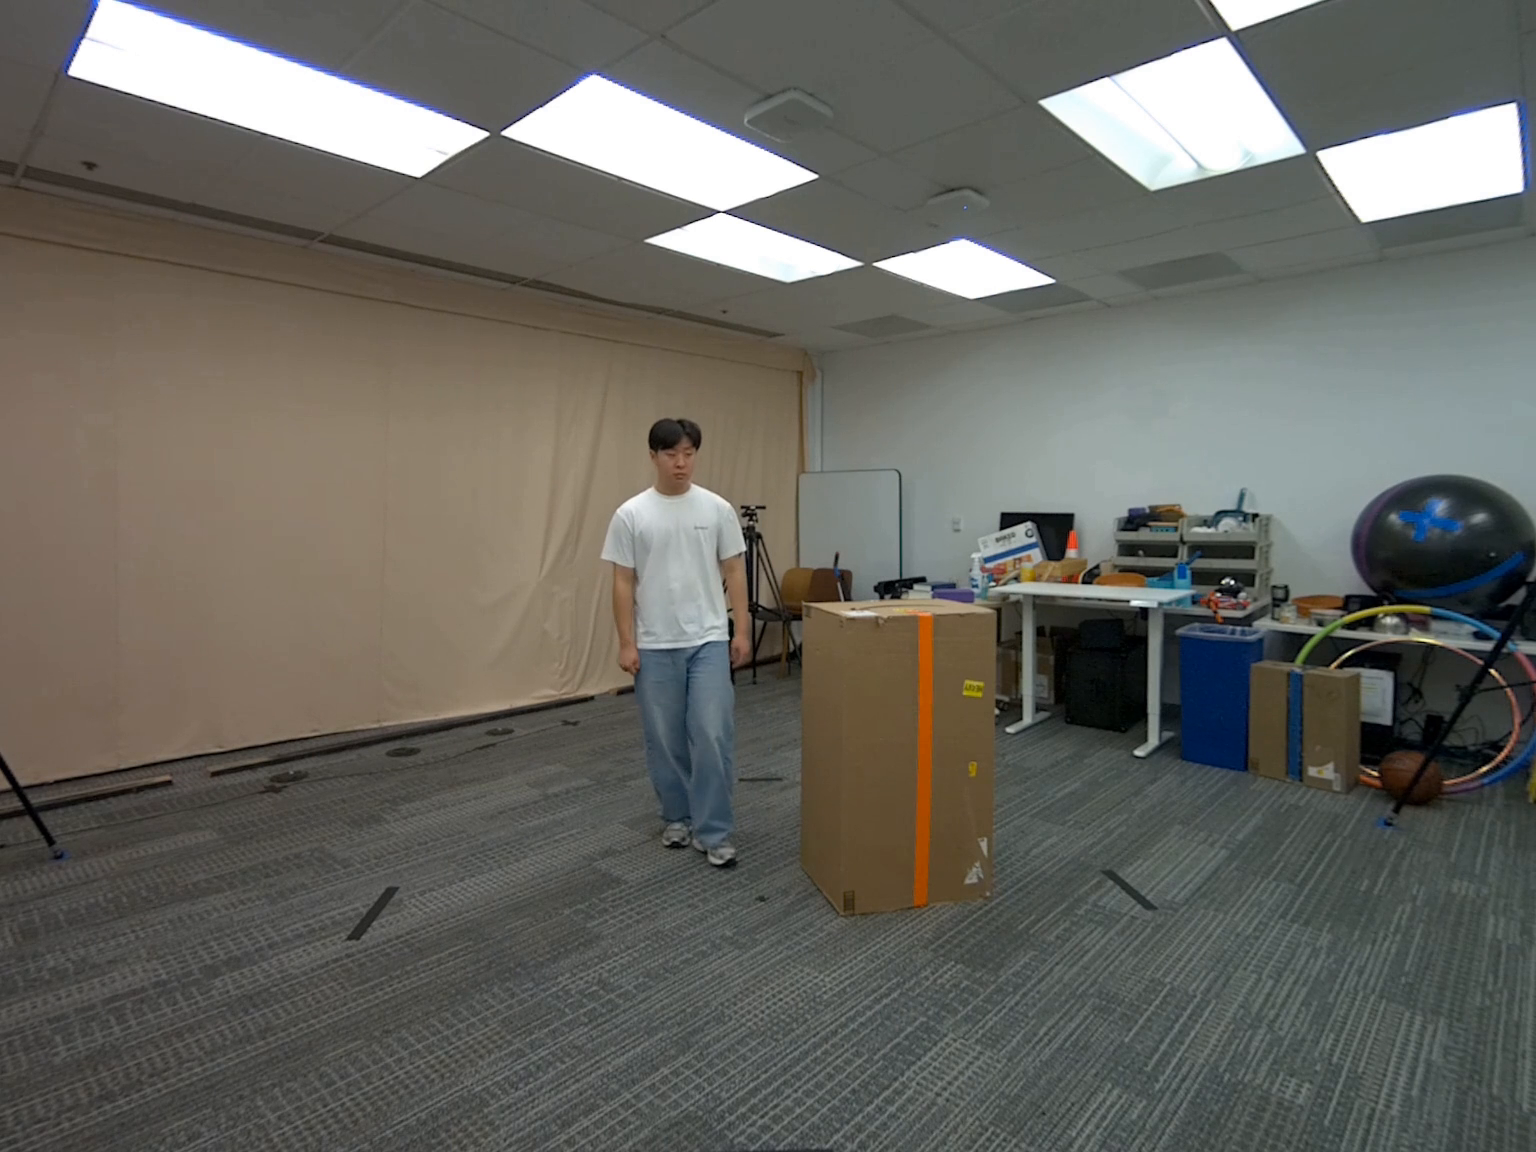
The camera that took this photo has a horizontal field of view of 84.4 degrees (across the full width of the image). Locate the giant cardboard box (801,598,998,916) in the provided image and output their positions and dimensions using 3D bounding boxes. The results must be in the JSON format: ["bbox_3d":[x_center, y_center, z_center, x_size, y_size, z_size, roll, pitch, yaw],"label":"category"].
[{"bbox_3d":[0.467,0.624,3.093,0.568,1.024,0.434,-1,3,-17],"label":"giant cardboard box"}]
